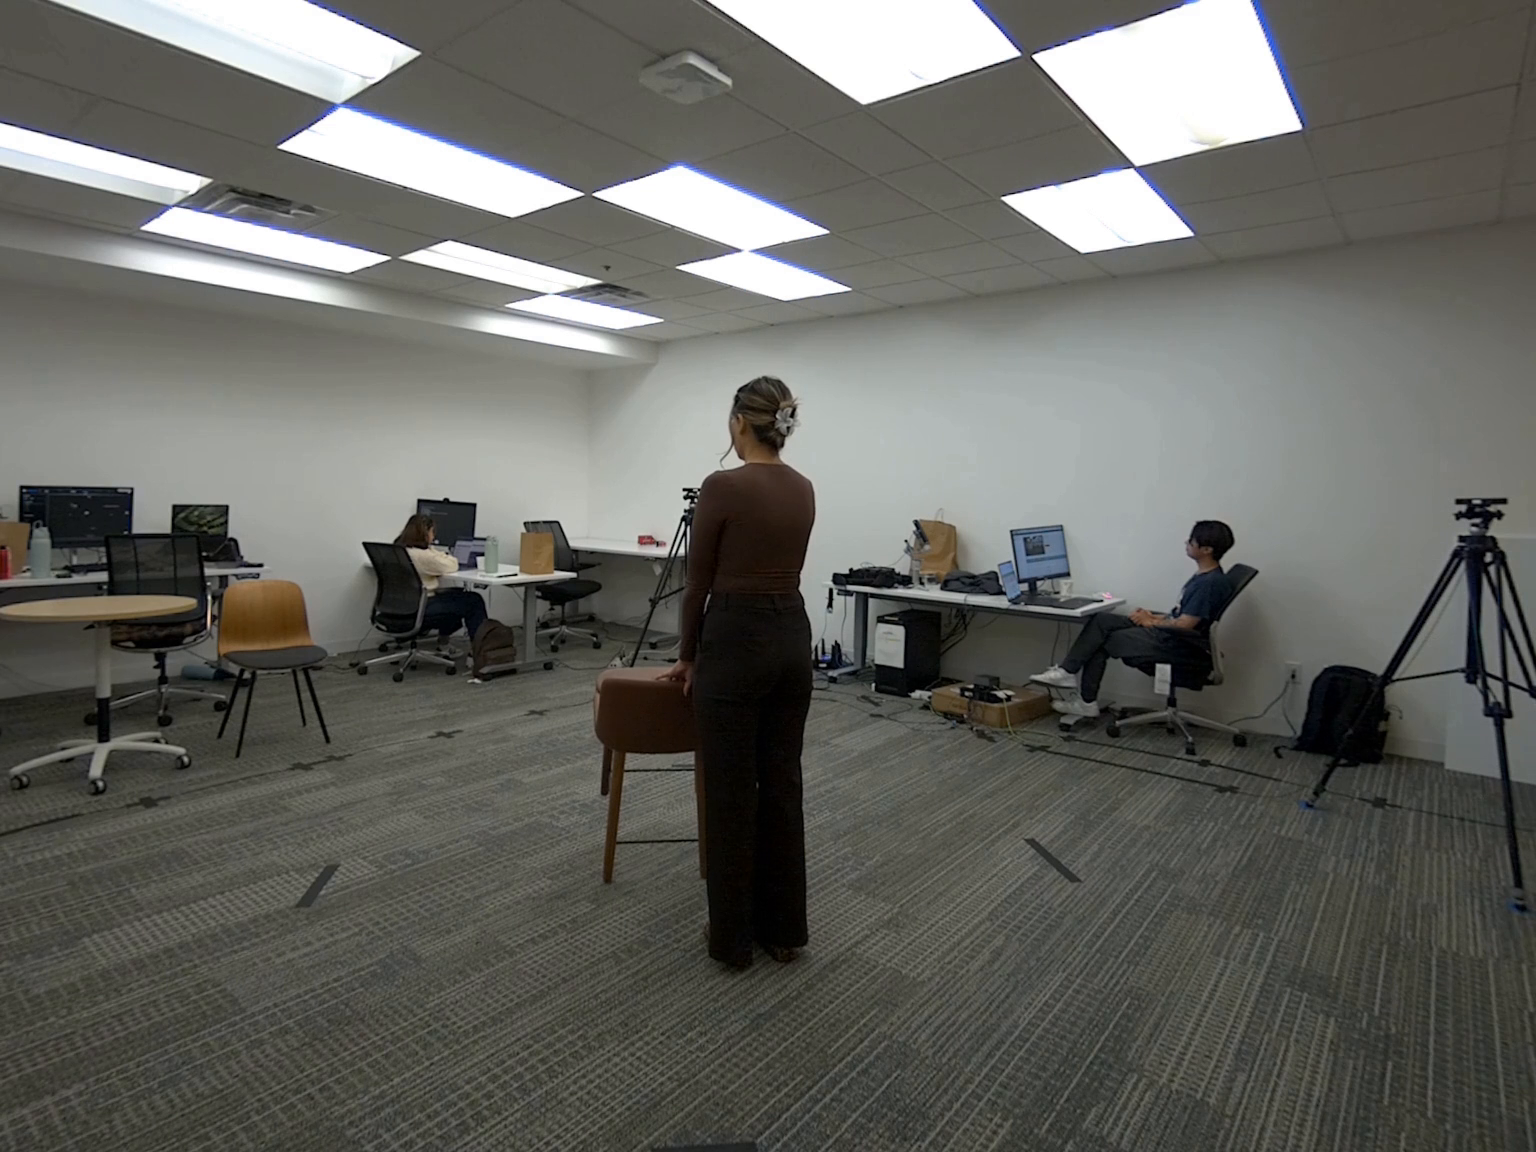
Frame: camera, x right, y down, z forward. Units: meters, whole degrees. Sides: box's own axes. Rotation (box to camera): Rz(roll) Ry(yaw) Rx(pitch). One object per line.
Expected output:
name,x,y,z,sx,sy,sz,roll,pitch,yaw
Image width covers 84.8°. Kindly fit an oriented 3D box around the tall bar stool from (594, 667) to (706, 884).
tall bar stool,-0.402,0.592,3.014,0.453,0.871,0.482,1,29,-8
